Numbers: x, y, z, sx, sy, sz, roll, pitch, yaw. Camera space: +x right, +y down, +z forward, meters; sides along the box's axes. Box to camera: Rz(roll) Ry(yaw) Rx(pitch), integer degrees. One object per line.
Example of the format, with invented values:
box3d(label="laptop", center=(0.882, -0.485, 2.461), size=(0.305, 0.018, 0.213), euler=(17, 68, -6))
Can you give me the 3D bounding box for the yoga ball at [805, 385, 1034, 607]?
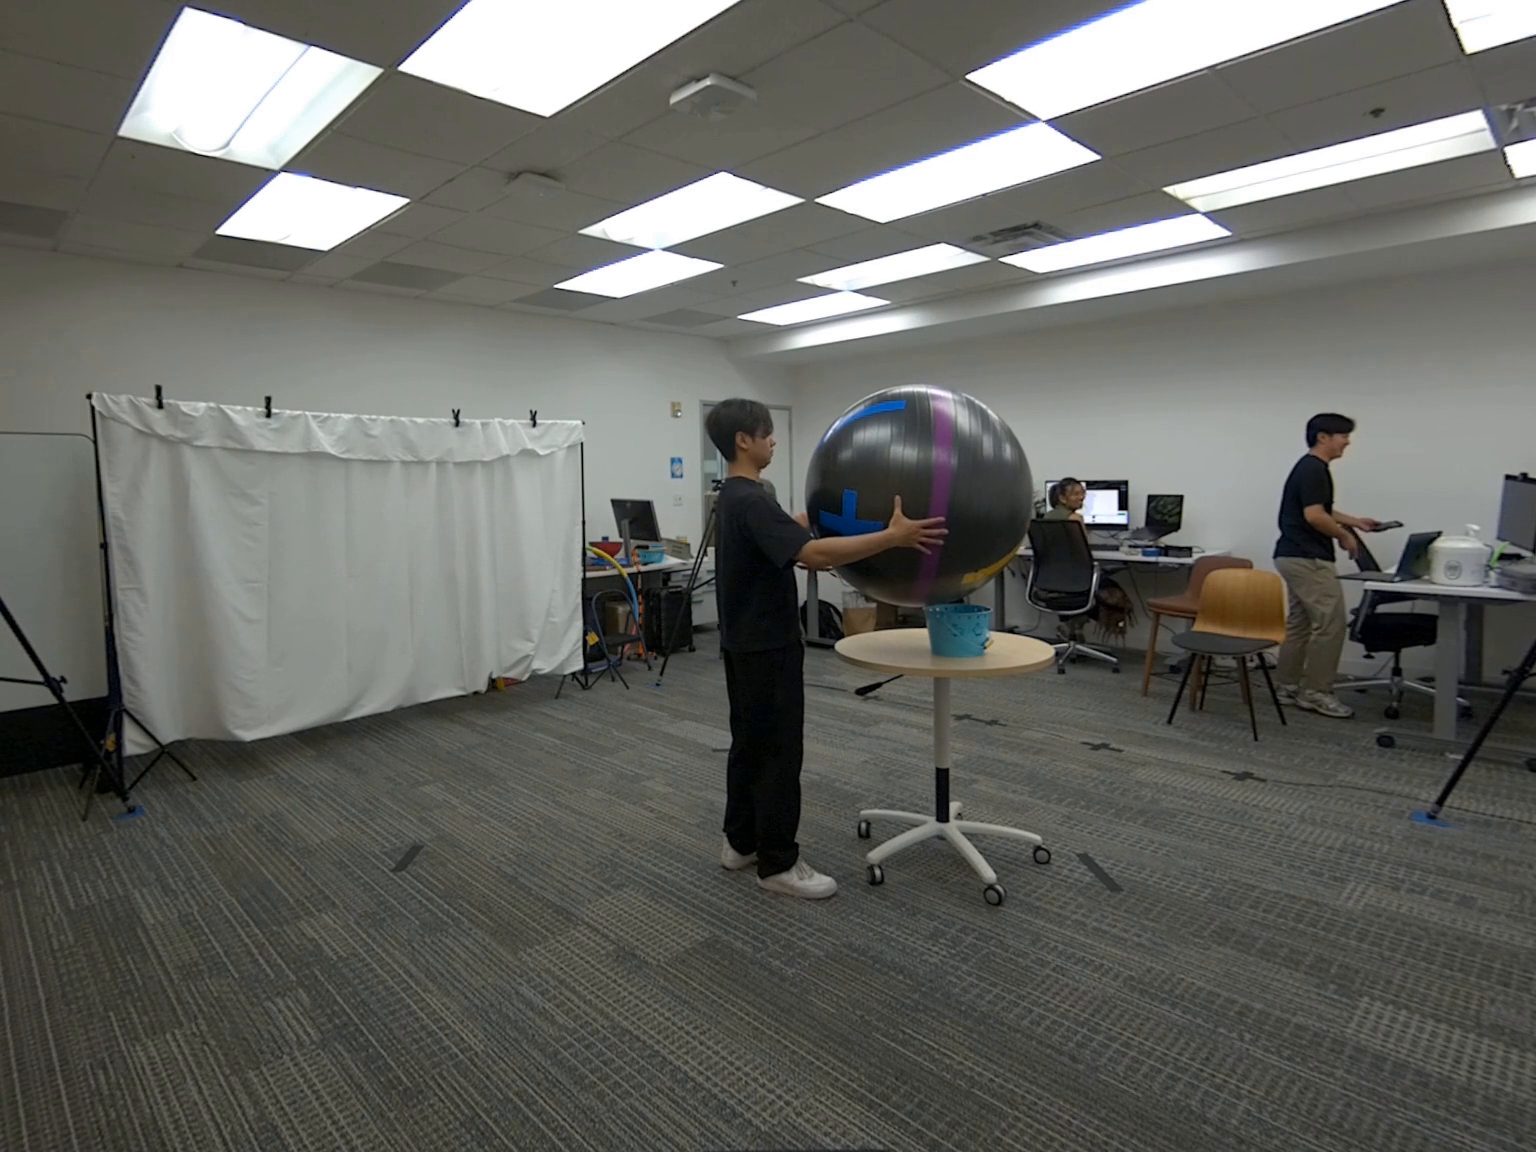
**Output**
box3d(label="yoga ball", center=(0.519, -0.274, 2.947), size=(0.757, 0.755, 0.762), euler=(-1, 5, -2))
